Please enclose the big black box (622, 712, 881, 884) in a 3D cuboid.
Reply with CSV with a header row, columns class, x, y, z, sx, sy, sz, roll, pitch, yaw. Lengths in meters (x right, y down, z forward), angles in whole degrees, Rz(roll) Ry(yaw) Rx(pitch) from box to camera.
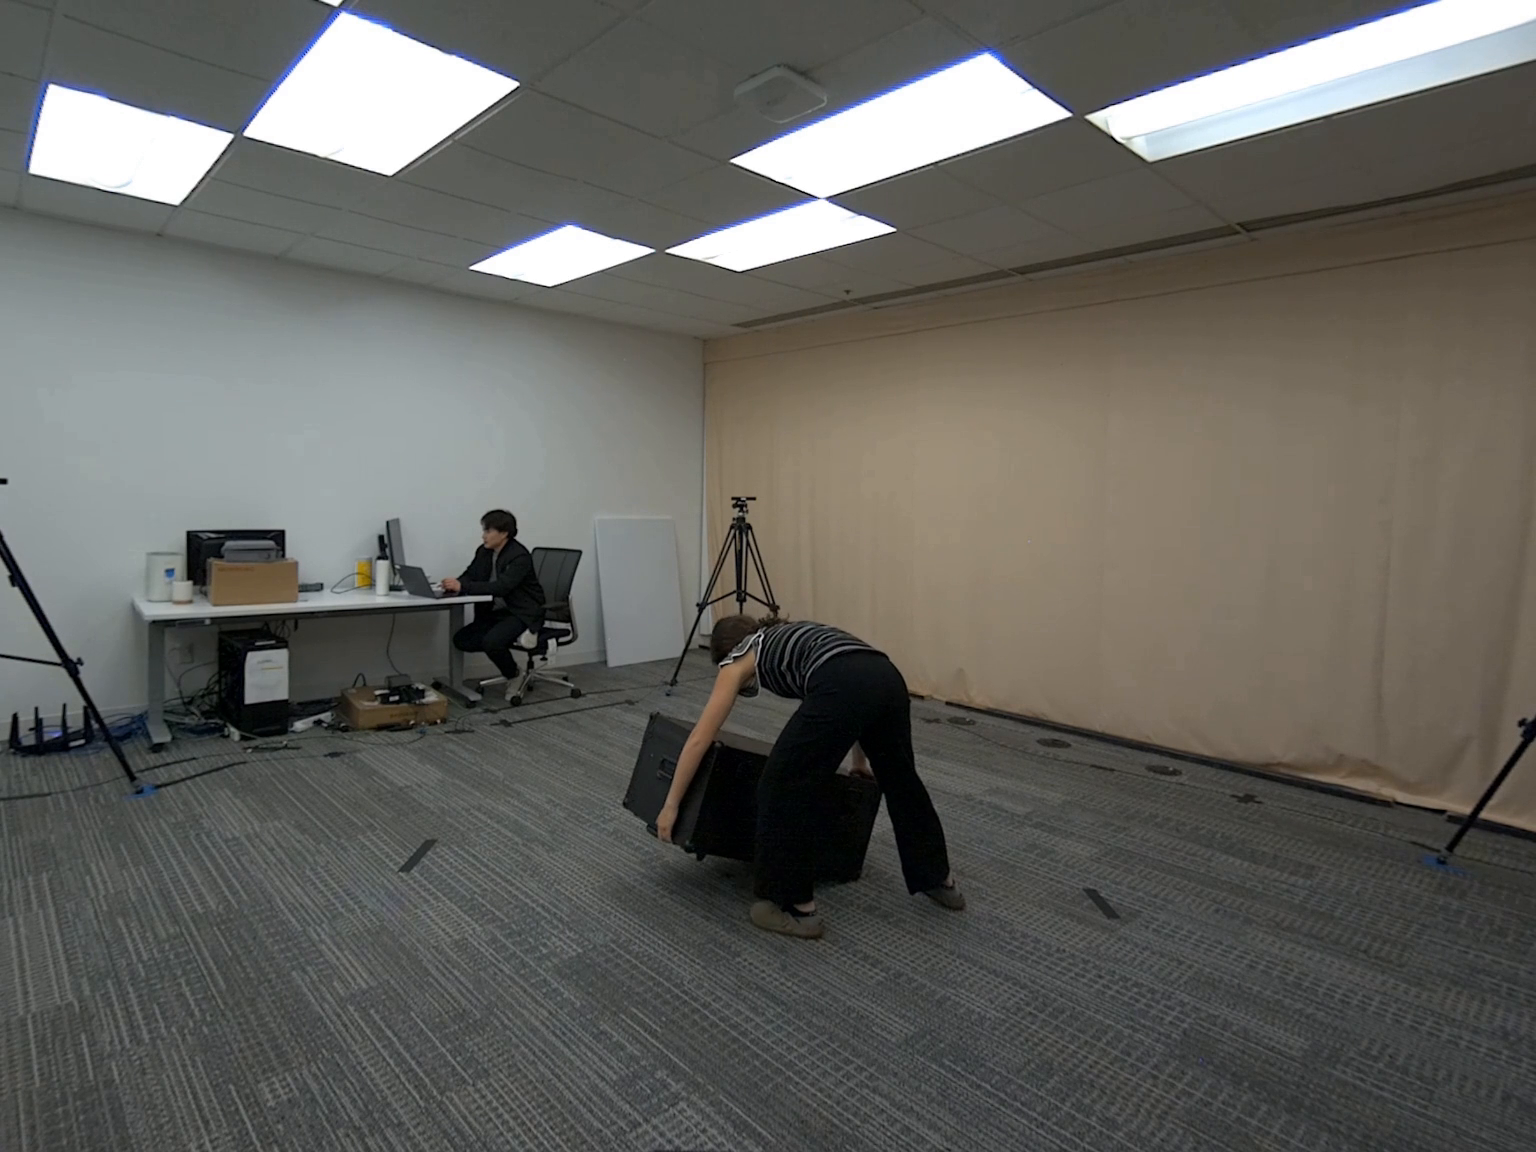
class,x,y,z,sx,sy,sz,roll,pitch,yaw
big black box,-0.033,0.827,3.126,0.838,0.397,0.534,21,-7,-33
